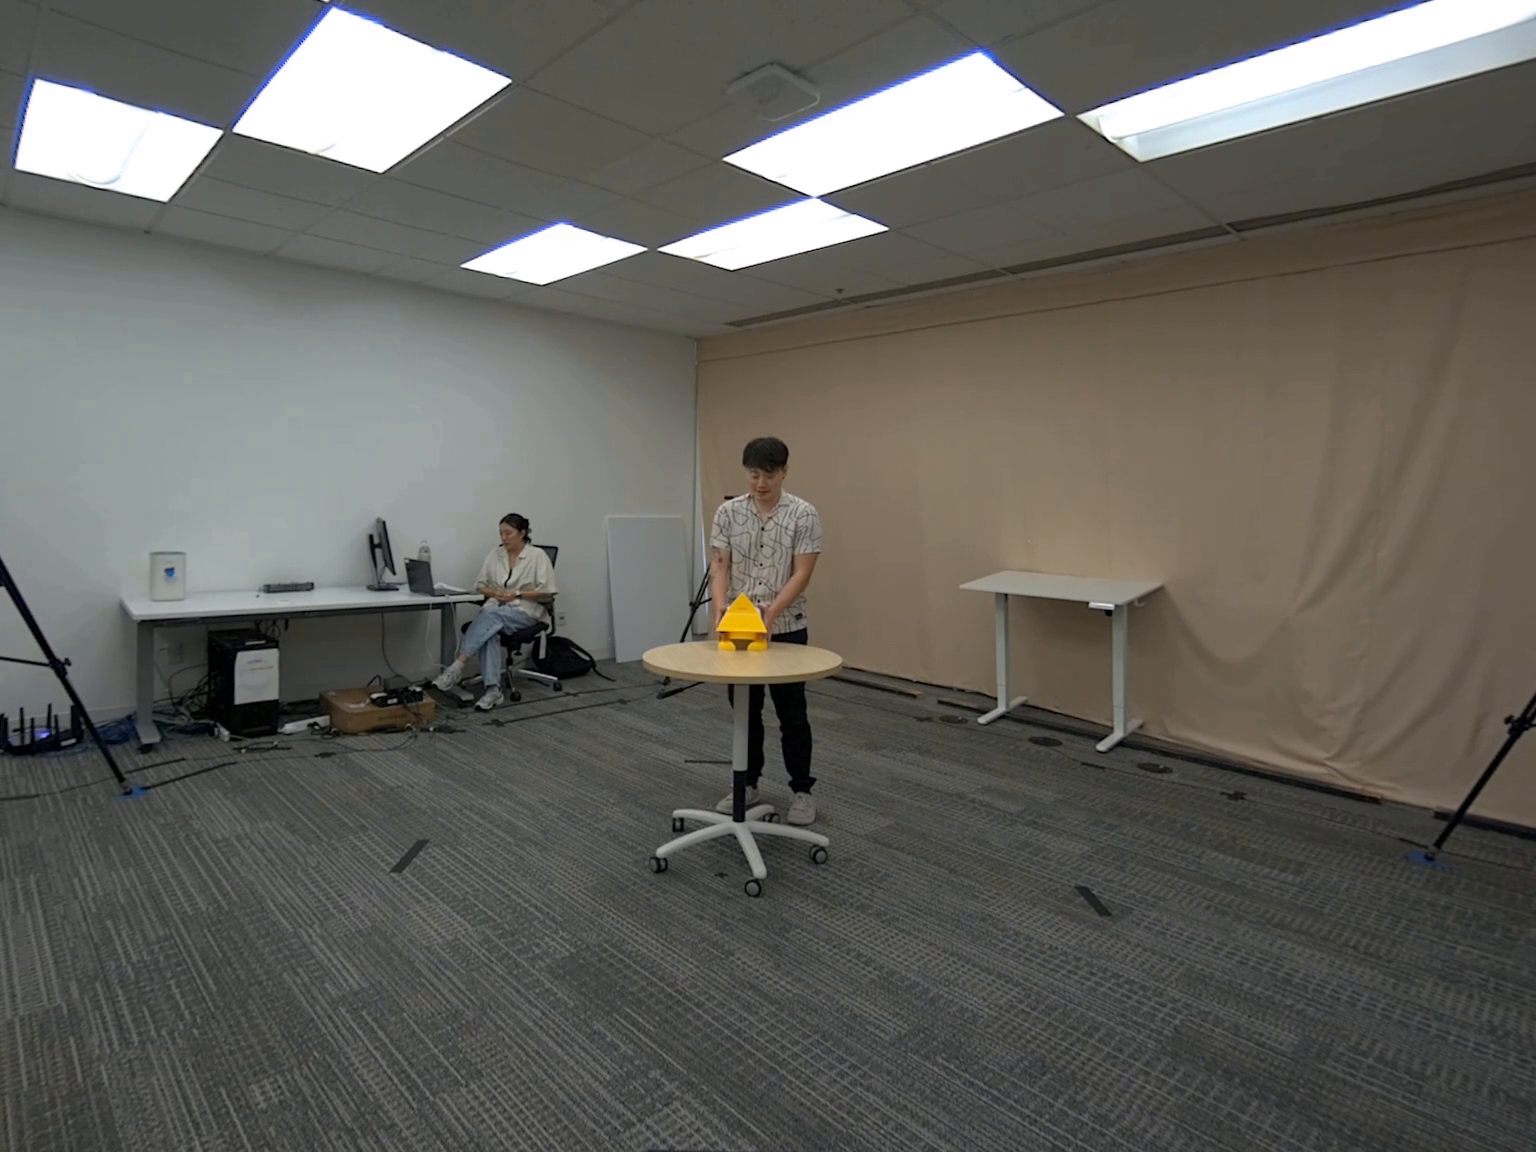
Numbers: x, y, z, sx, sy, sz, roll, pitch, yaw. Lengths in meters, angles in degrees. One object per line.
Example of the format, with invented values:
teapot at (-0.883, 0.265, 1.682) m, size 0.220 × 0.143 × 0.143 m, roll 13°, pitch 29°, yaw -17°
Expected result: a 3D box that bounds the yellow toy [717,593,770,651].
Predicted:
yellow toy at (-0.119, 0.181, 3.446) m, size 0.205 × 0.230 × 0.193 m, roll 2°, pitch 3°, yaw 1°
